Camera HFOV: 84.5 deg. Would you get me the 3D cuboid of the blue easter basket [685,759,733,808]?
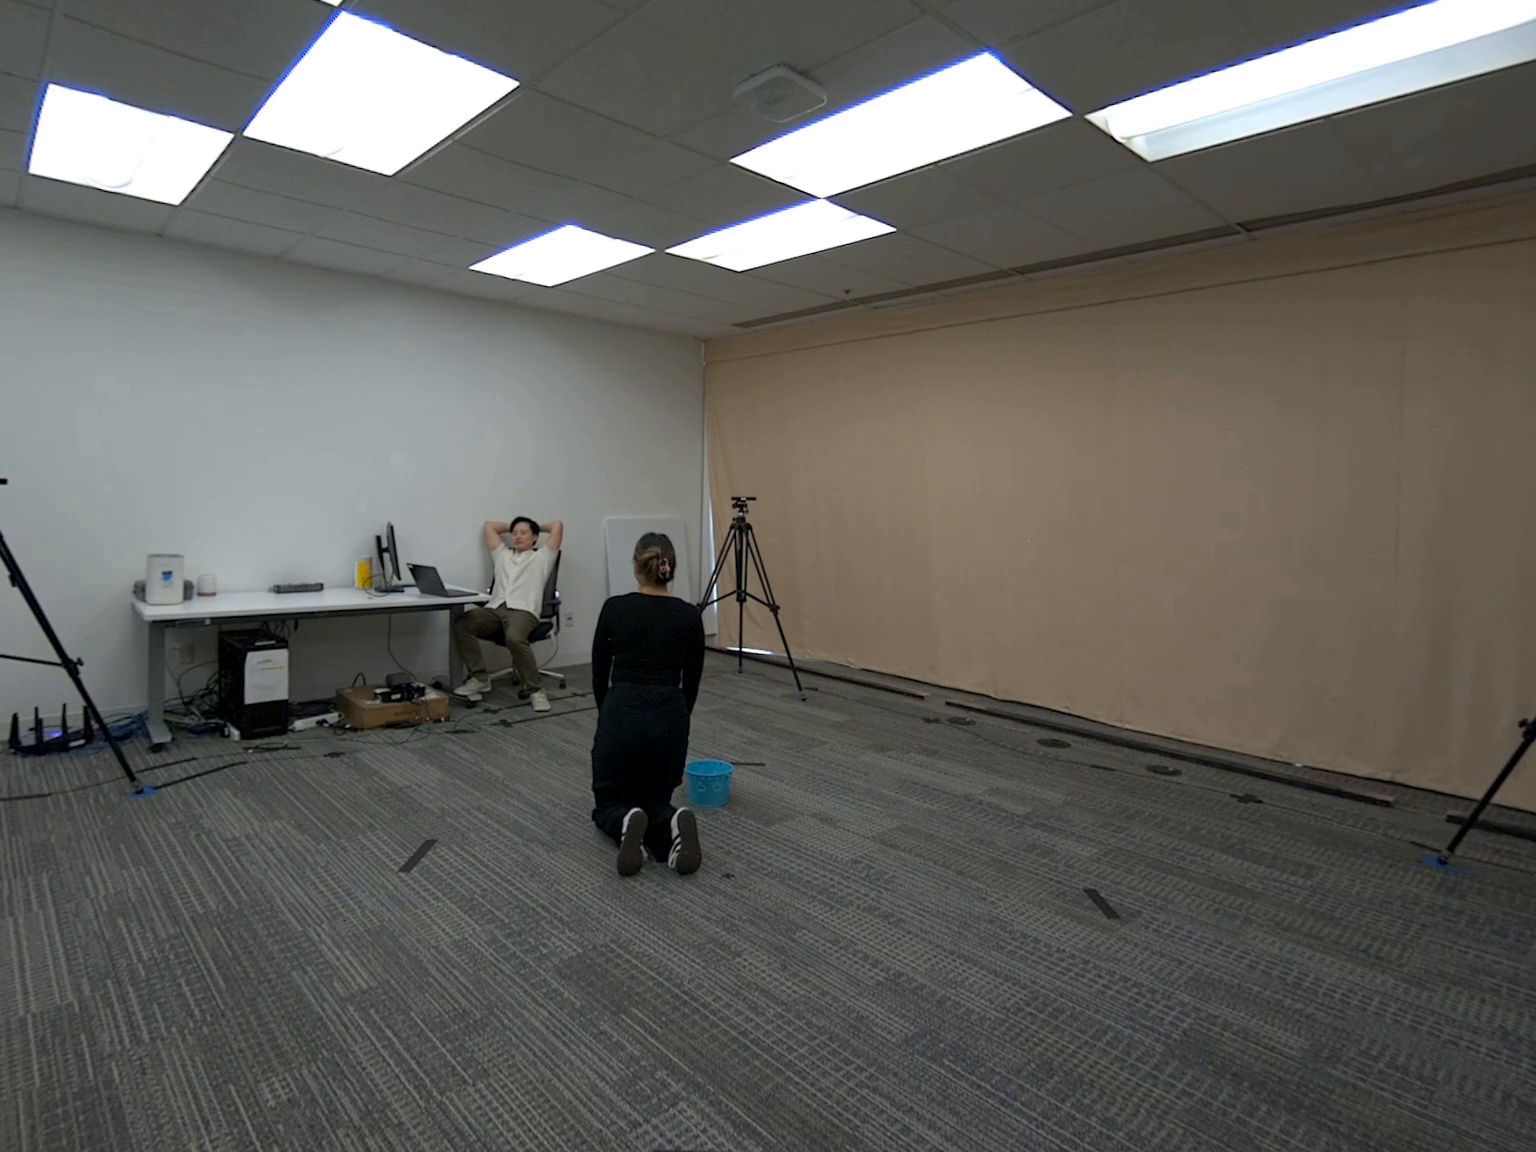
[{"bbox_3d":[-0.281,0.958,3.895,0.243,0.155,0.244,2,5,-1],"label":"blue easter basket"}]
